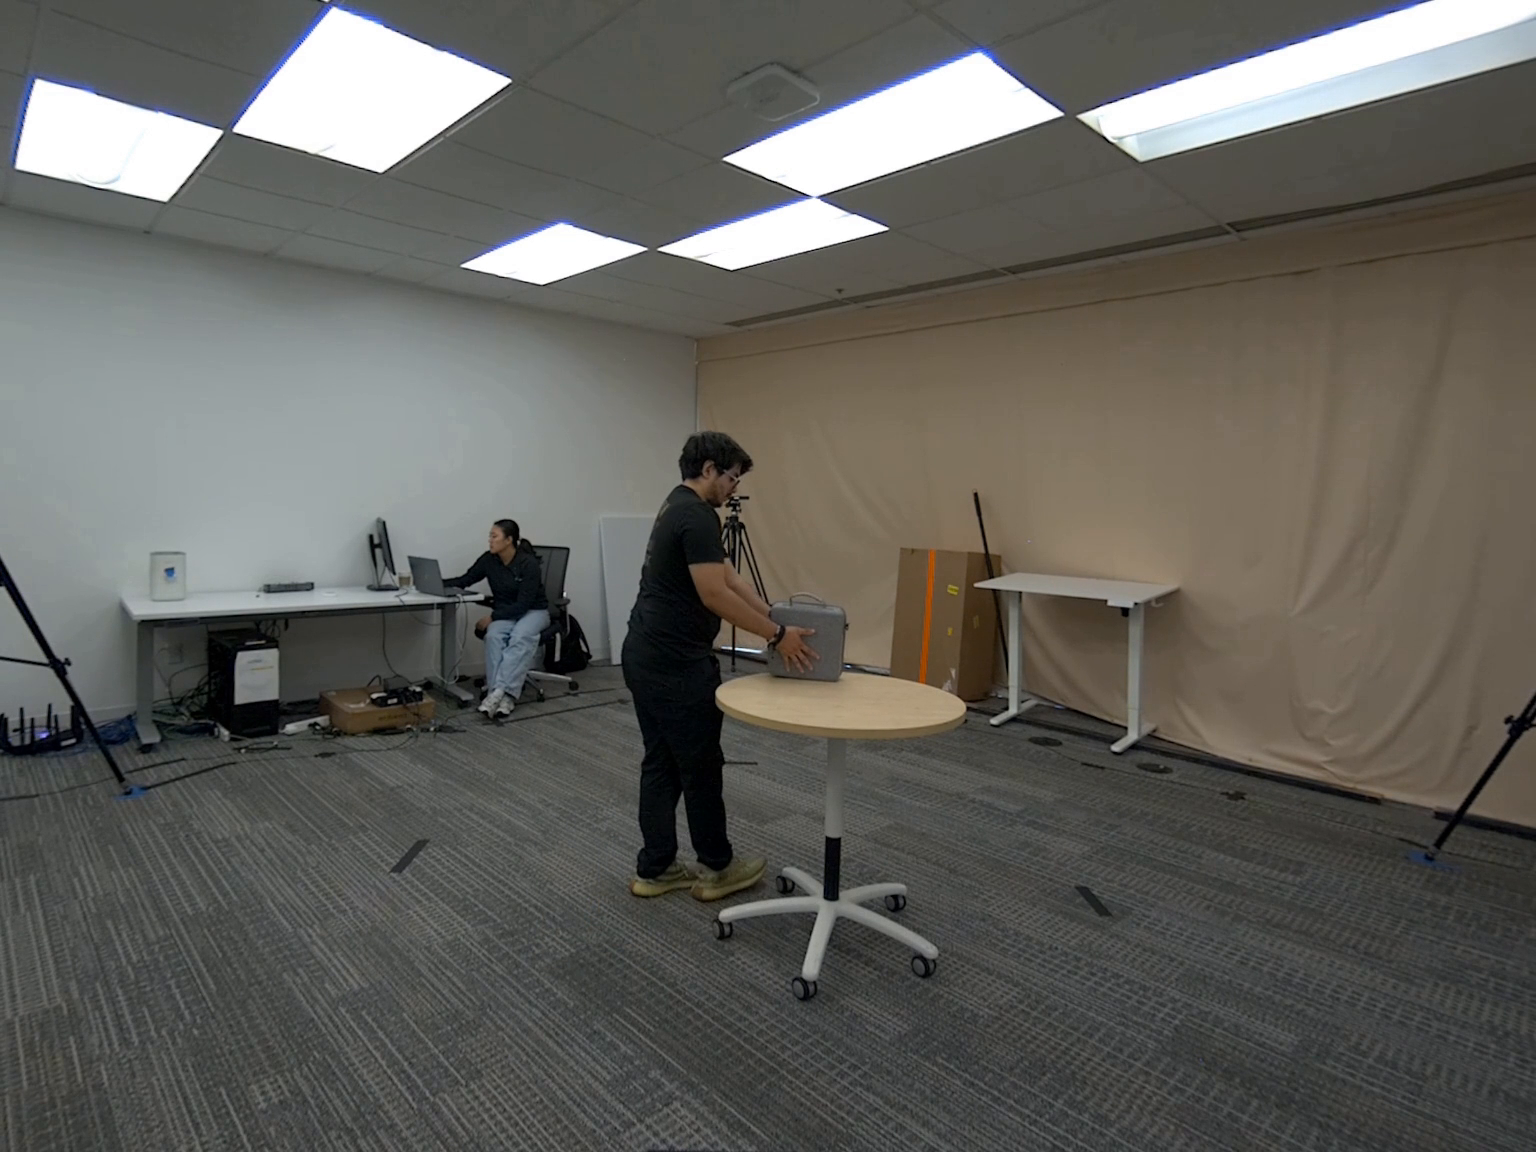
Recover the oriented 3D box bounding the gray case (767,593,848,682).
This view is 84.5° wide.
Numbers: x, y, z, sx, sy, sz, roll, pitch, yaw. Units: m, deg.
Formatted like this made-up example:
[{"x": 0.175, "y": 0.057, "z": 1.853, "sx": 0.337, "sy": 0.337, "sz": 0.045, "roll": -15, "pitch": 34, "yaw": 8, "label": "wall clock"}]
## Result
[{"x": 0.133, "y": 0.221, "z": 2.854, "sx": 0.258, "sy": 0.258, "sz": 0.105, "roll": 4, "pitch": 15, "yaw": 7, "label": "gray case"}]
